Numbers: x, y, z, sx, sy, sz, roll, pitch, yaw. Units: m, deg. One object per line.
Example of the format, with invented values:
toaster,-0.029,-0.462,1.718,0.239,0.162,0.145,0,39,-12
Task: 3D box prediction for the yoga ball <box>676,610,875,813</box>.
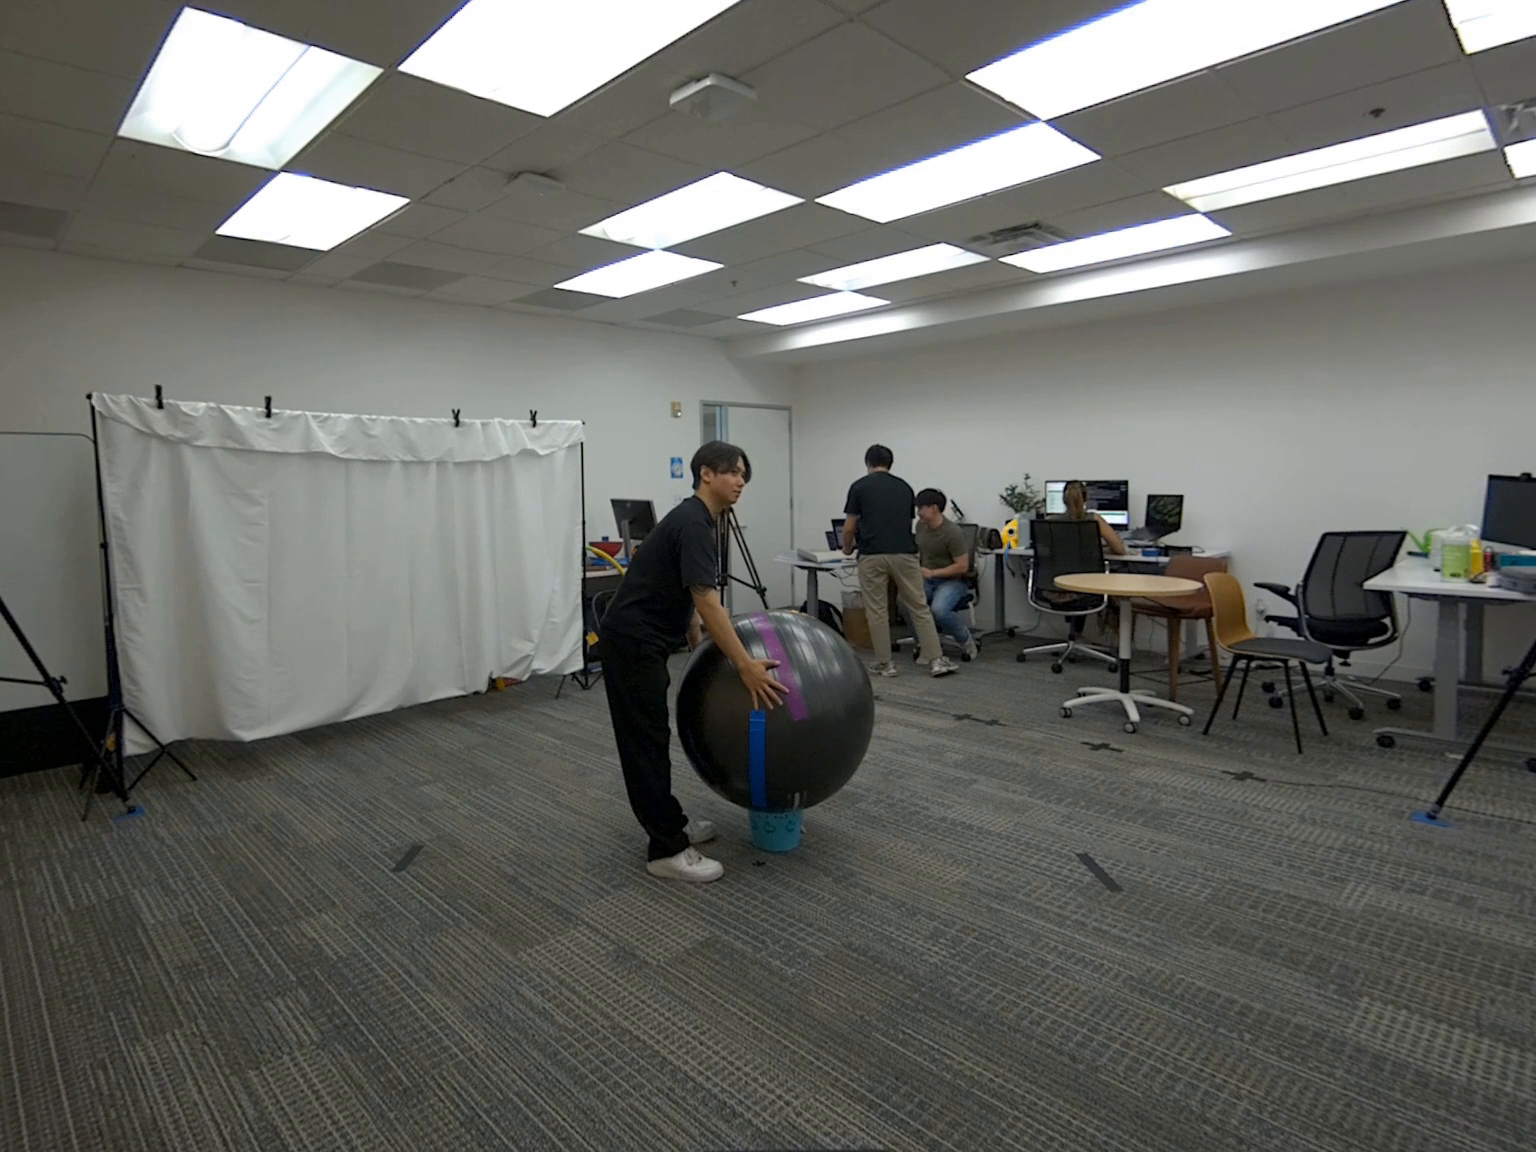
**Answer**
yoga ball,0.029,0.514,3.282,0.757,0.755,0.762,-1,5,-2
